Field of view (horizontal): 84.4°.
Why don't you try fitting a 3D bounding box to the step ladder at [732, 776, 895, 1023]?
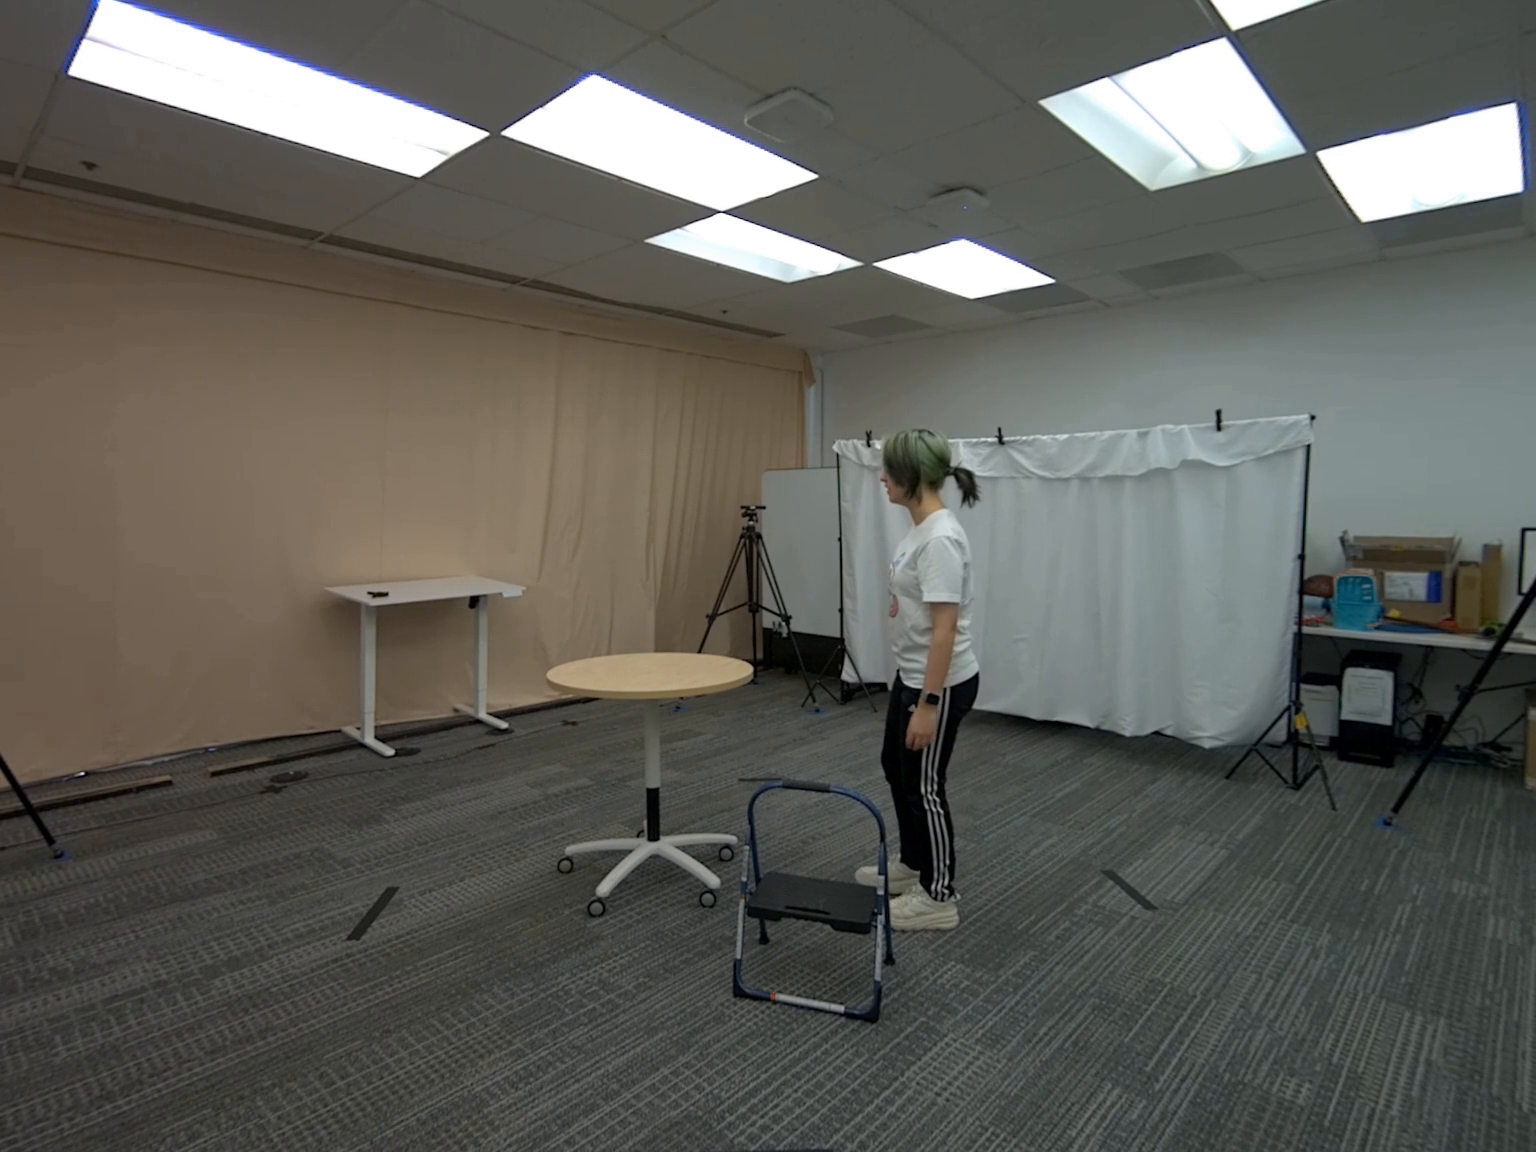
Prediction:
[{"bbox_3d":[0.142,0.884,2.468,0.439,0.605,0.343,1,3,16],"label":"step ladder"}]
